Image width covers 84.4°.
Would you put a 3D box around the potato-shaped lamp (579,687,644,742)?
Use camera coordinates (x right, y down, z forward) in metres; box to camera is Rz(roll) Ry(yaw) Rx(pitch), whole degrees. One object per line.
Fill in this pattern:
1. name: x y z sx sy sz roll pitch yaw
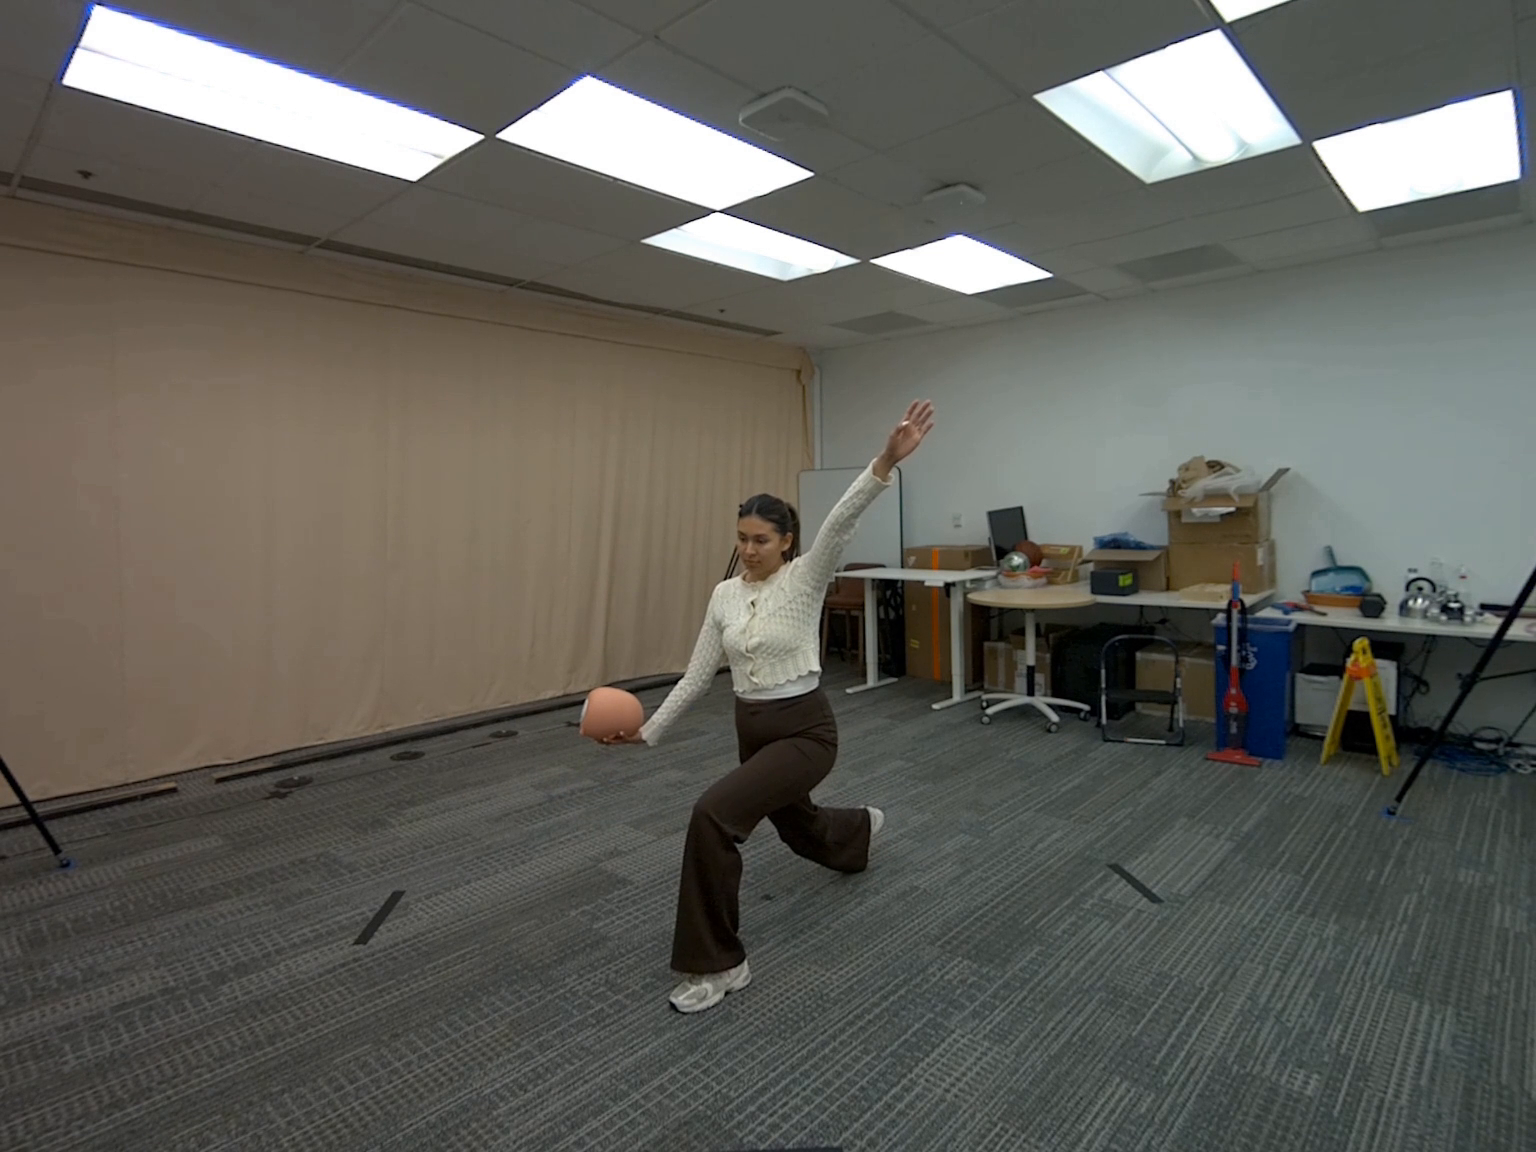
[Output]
1. potato-shaped lamp: -0.507 0.461 2.767 0.195 0.171 0.168 16 14 -14
